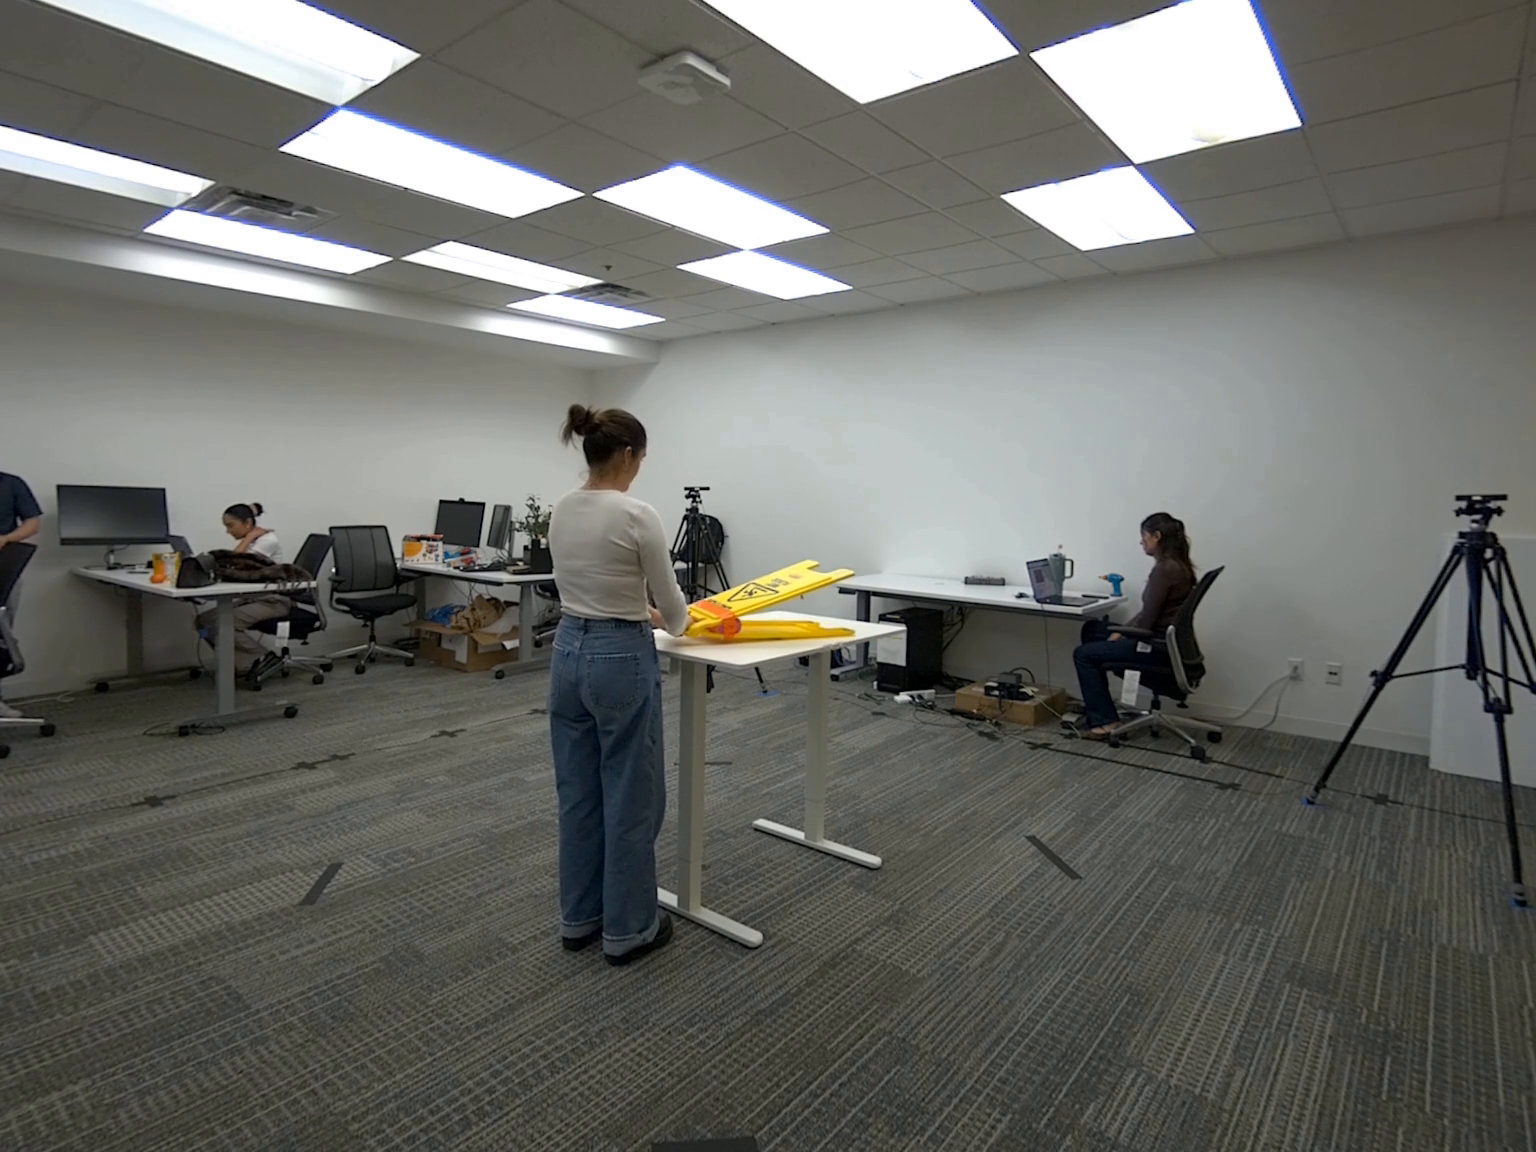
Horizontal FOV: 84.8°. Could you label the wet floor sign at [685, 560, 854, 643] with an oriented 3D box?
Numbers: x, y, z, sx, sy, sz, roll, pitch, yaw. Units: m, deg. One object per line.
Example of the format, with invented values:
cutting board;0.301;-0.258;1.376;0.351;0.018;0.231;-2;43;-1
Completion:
wet floor sign;-0.057;0.130;2.933;0.631;0.287;0.292;-8;11;-29
